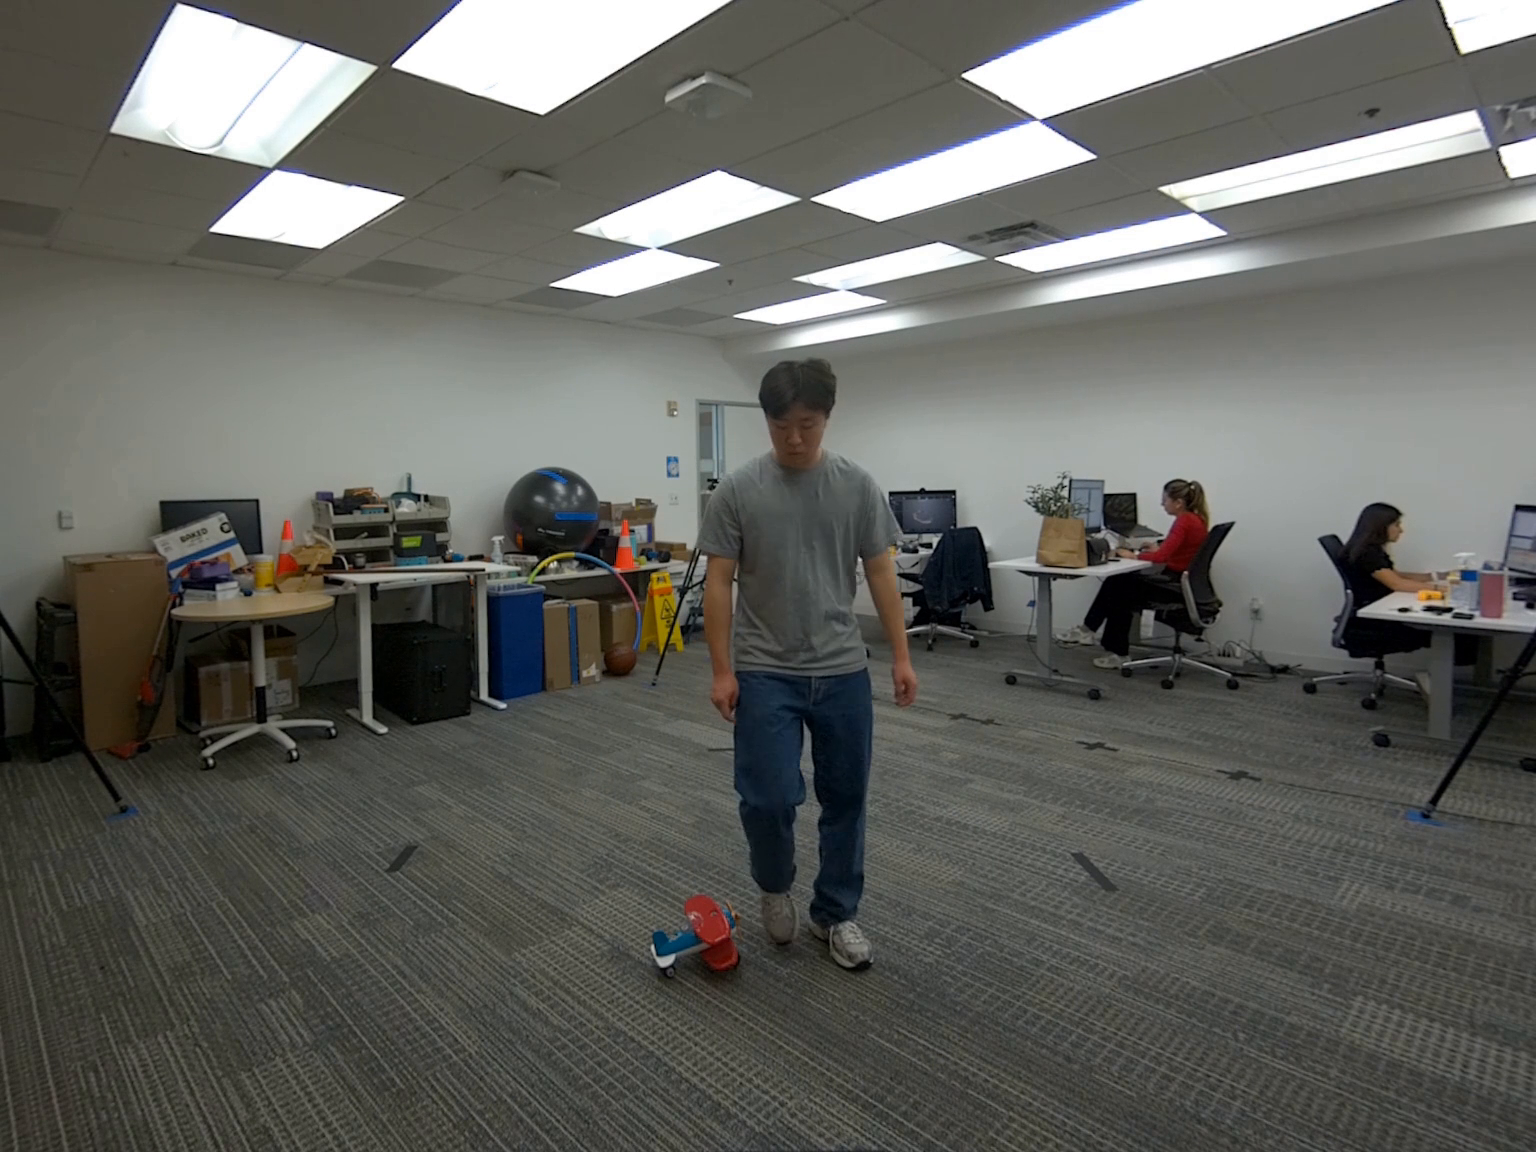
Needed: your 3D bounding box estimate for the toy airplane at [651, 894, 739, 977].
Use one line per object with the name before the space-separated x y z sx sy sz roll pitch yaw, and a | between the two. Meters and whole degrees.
toy airplane | -0.186 1.054 2.436 0.259 0.156 0.252 4 7 41
